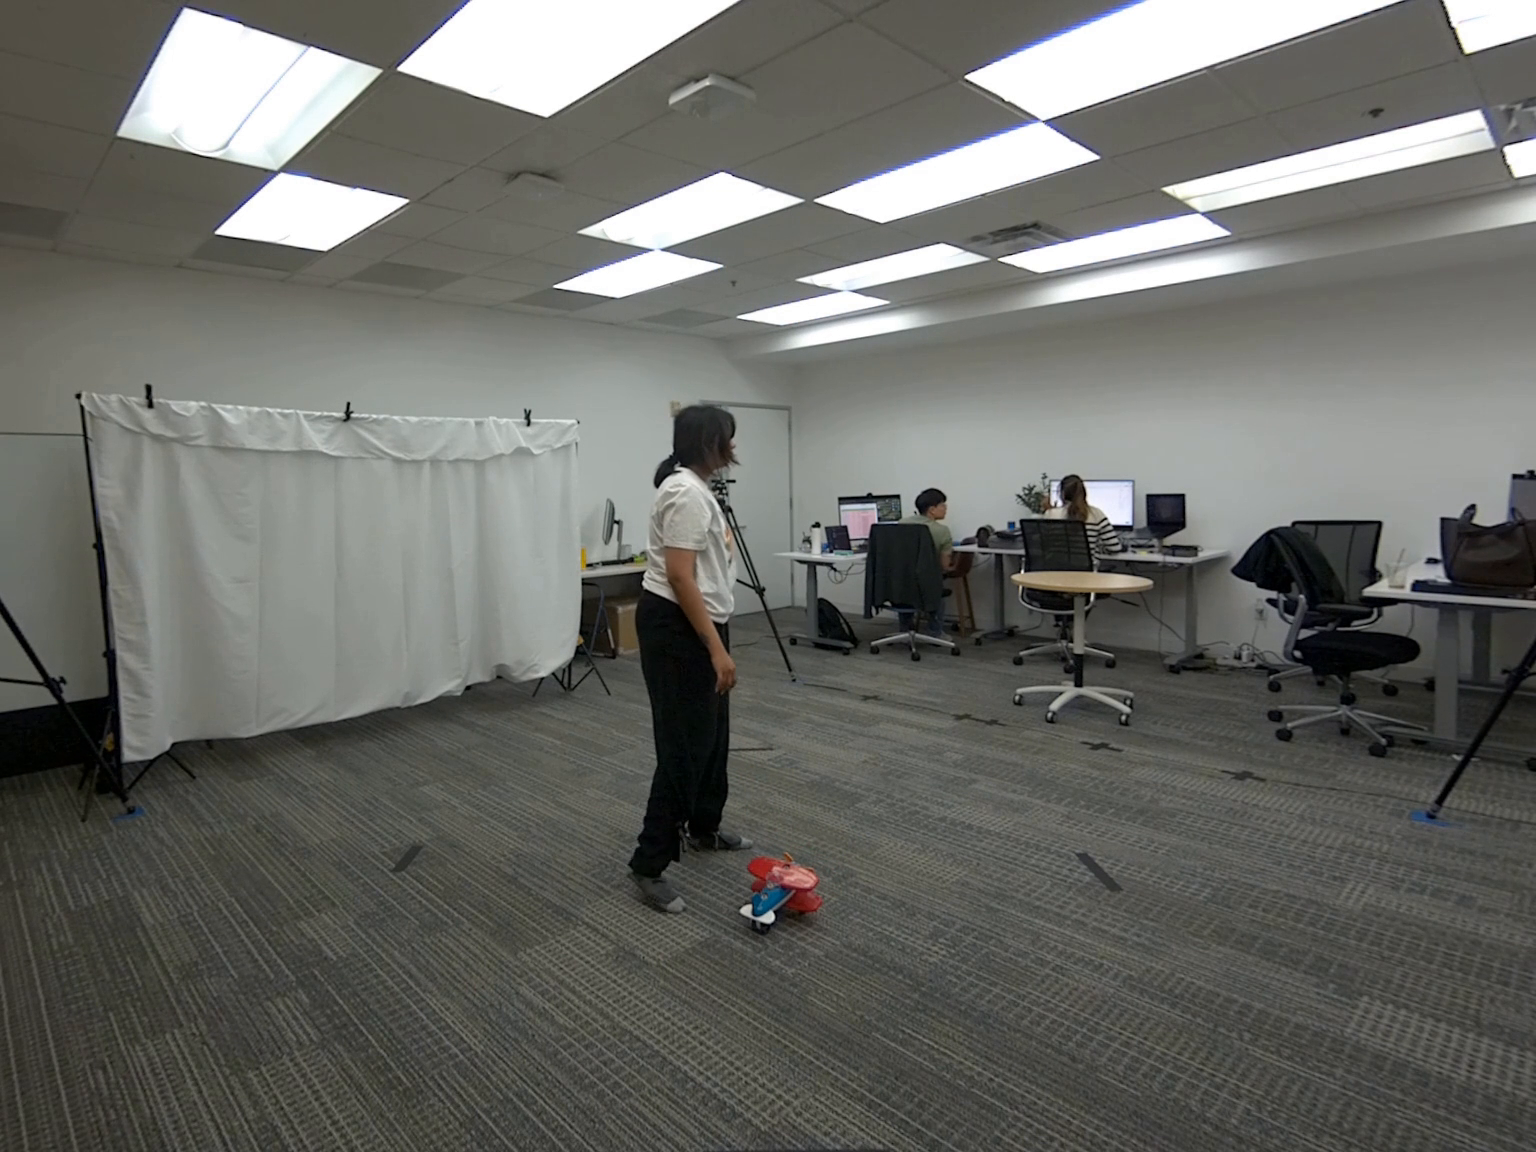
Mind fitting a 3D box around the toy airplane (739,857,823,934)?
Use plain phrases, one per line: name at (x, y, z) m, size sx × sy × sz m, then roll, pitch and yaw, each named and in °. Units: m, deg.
toy airplane at (0.053, 1.014, 2.700) m, size 0.254 × 0.156 × 0.257 m, roll 0°, pitch 5°, yaw 10°
